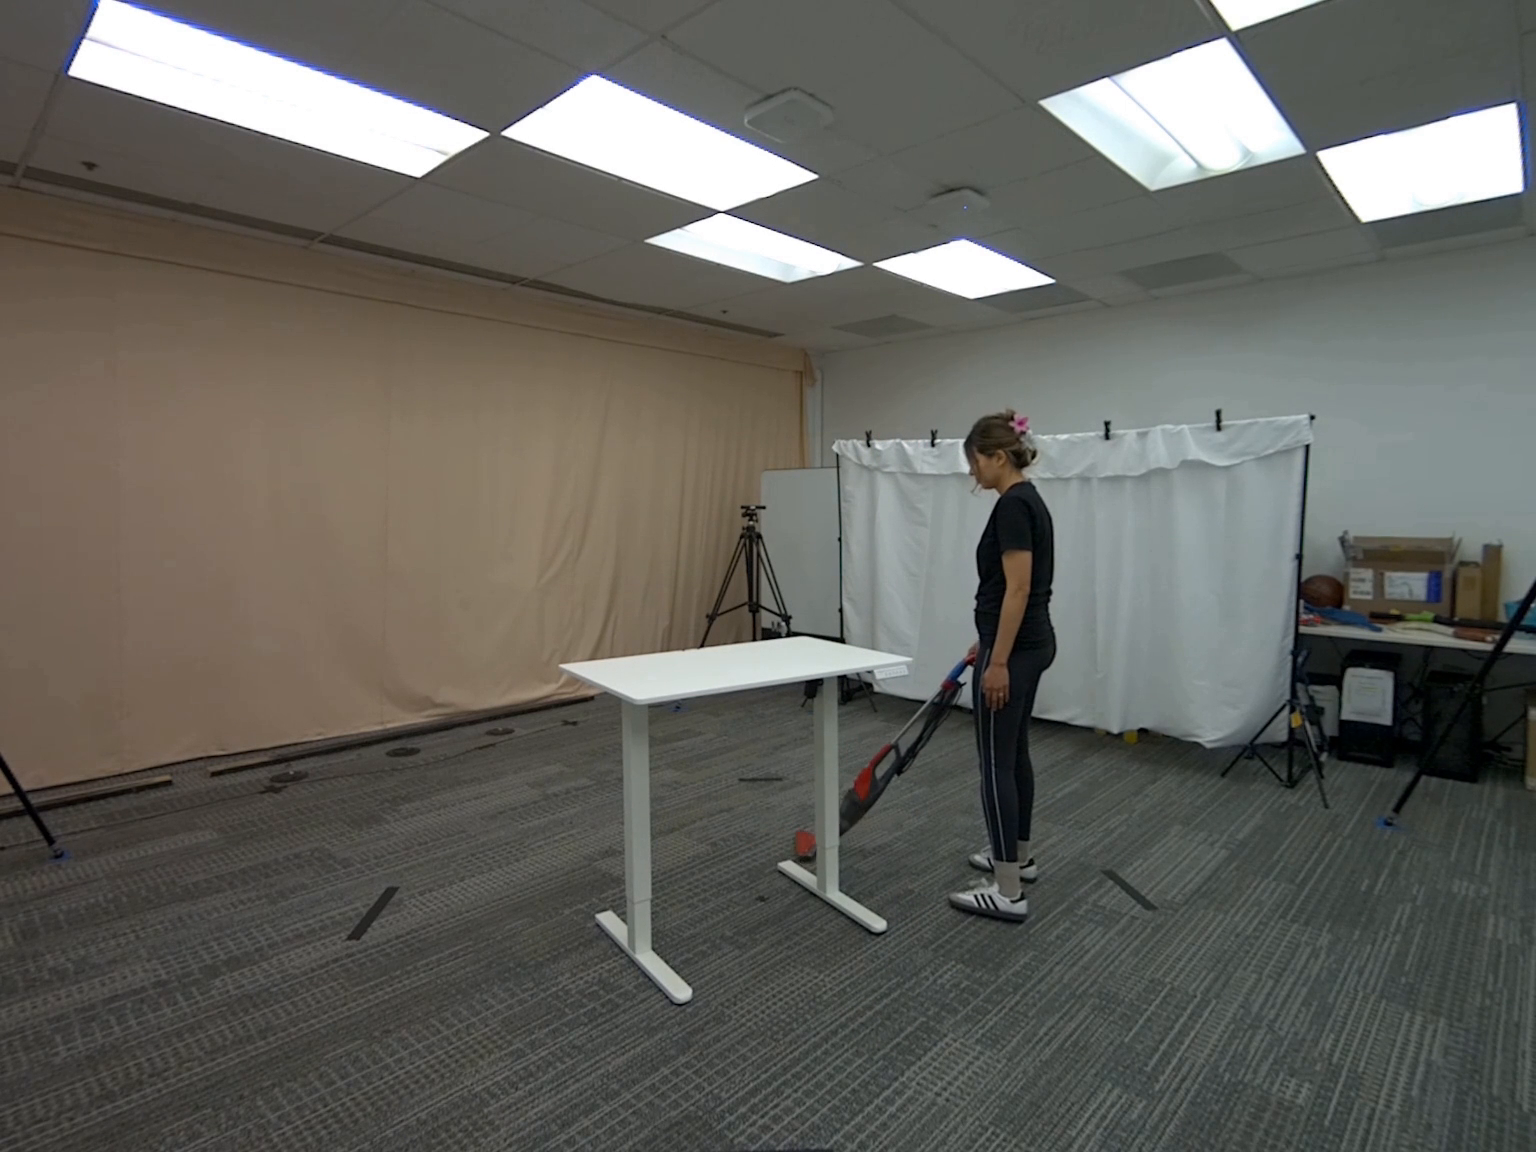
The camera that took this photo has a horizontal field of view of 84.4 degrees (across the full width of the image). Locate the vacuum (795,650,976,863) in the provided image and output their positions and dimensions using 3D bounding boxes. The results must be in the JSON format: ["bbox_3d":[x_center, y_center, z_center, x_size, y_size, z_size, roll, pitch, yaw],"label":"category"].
[{"bbox_3d":[0.532,0.692,3.363,0.145,1.050,0.251,41,4,3],"label":"vacuum"}]
